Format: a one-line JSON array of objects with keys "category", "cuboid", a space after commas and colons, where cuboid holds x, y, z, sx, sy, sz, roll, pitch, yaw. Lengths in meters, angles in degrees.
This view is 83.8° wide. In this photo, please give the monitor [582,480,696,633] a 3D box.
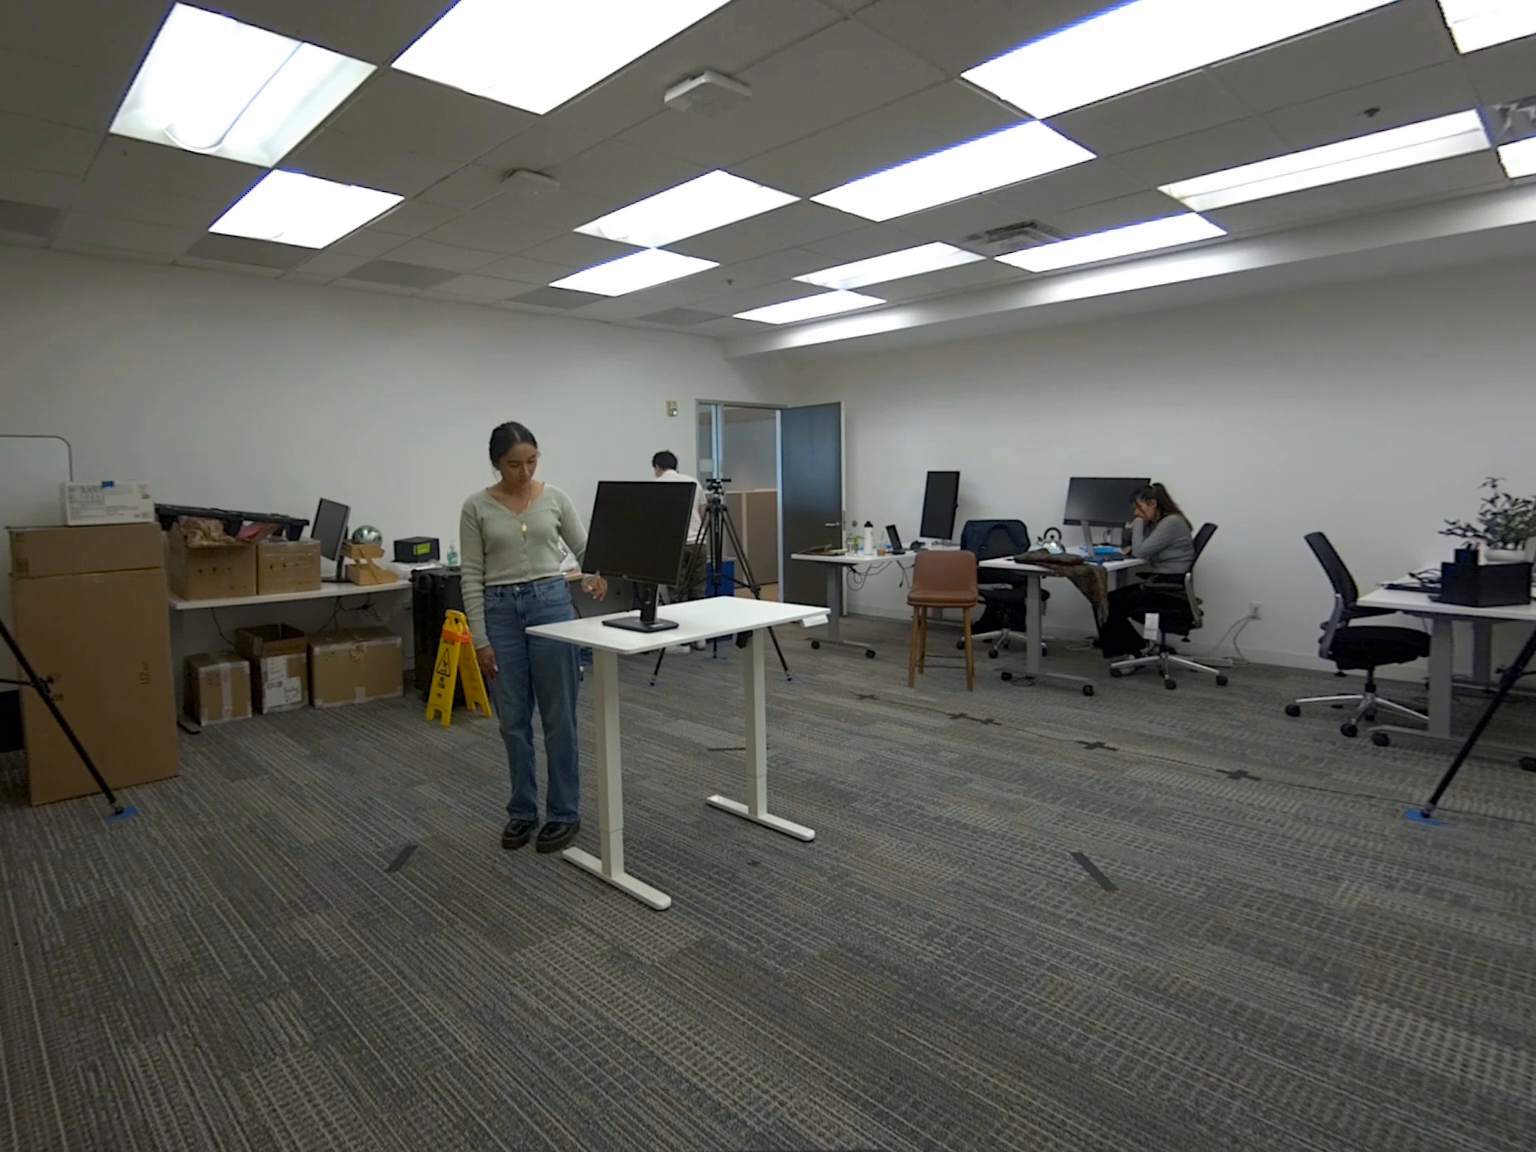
[{"category": "monitor", "cuboid": [-0.447, -0.072, 3.031, 0.556, 0.521, 0.182, 5, 5, 42]}]
